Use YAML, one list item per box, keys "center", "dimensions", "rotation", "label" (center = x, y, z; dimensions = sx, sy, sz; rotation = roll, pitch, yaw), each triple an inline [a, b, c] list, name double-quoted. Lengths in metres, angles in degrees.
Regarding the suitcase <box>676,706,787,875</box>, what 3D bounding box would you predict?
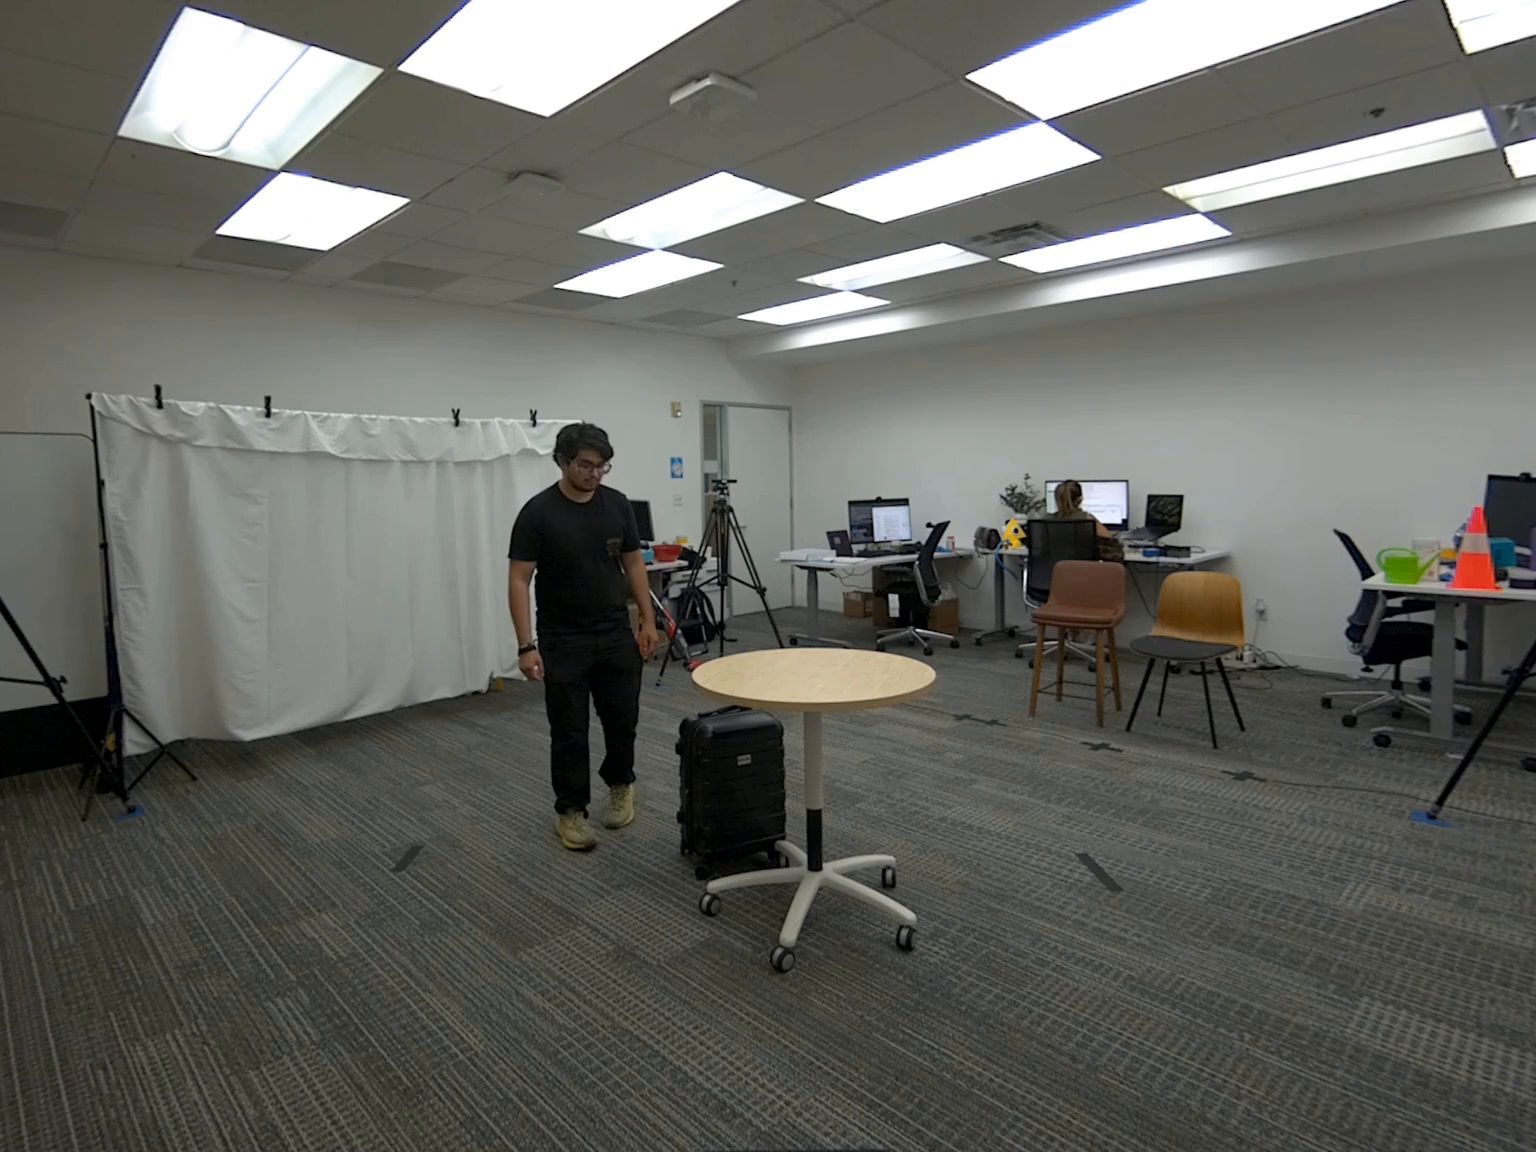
- center: [-0.134, 0.767, 3.137]
  dimensions: [0.368, 0.547, 0.254]
  rotation: [-4, 5, -25]
  label: "suitcase"
